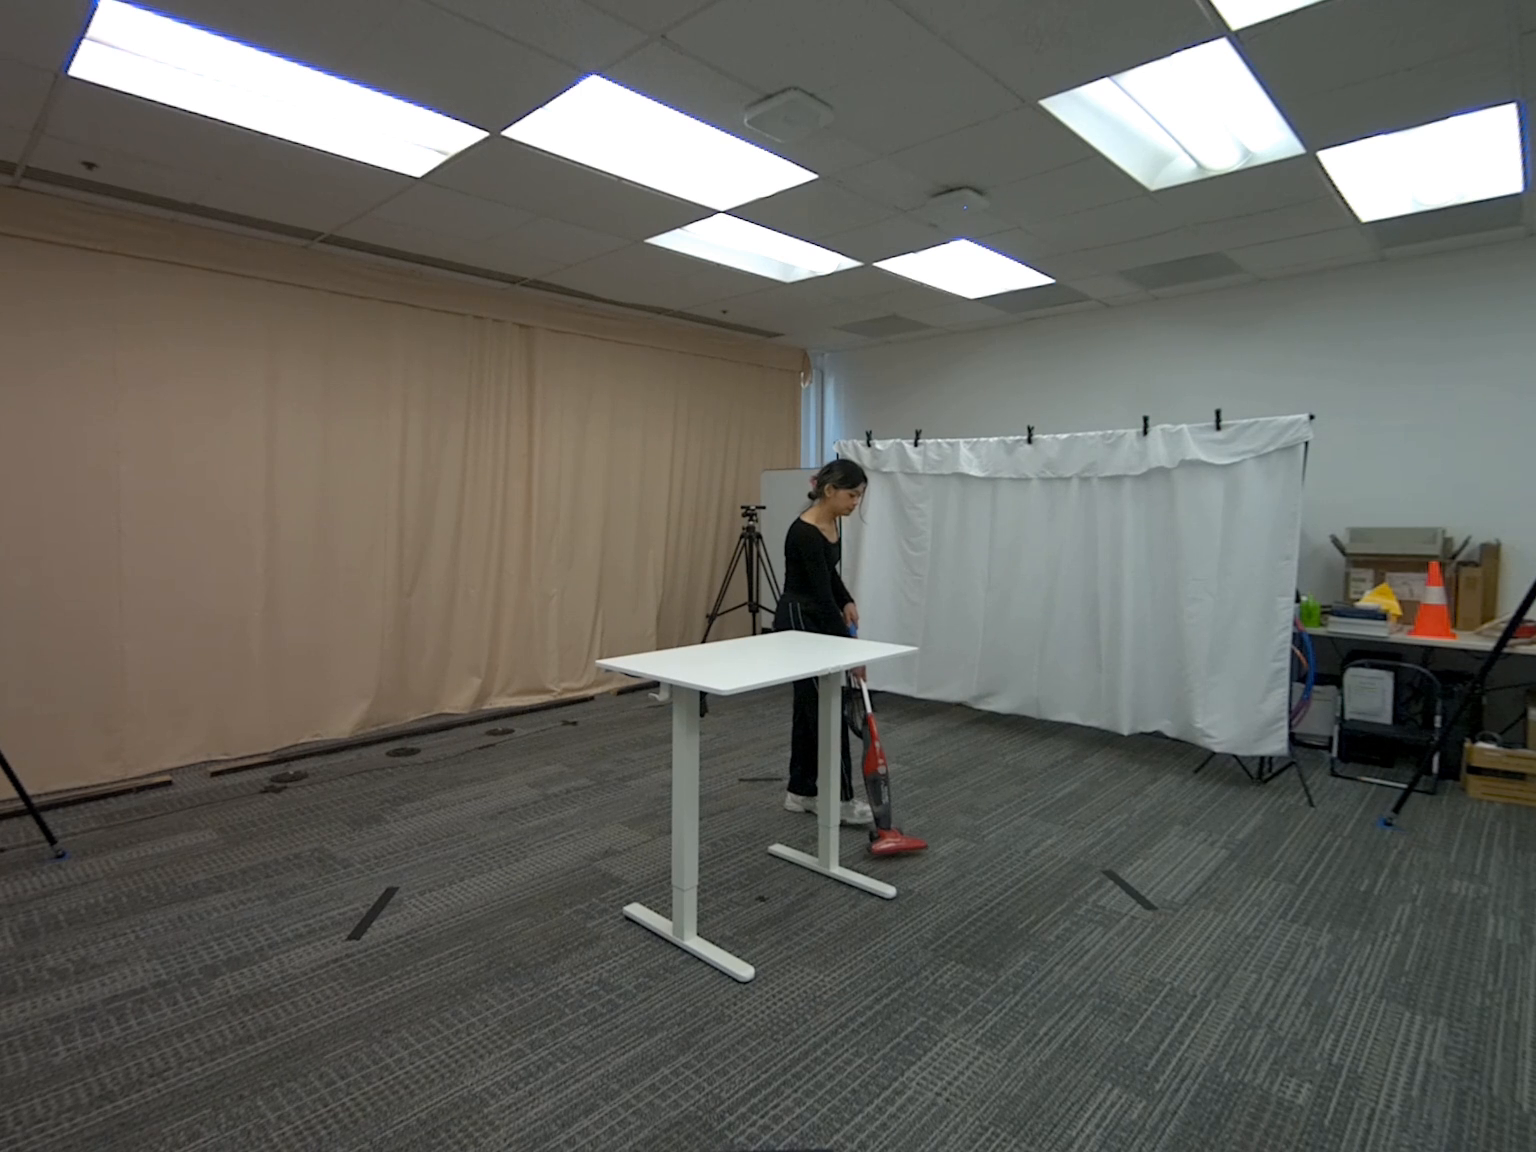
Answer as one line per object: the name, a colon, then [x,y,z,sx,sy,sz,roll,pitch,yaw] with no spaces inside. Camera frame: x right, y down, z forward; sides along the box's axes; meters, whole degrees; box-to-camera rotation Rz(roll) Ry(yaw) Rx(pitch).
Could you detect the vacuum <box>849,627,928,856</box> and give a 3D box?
vacuum: [0.425,0.603,3.583,0.246,1.068,0.145,4,-27,-26]
